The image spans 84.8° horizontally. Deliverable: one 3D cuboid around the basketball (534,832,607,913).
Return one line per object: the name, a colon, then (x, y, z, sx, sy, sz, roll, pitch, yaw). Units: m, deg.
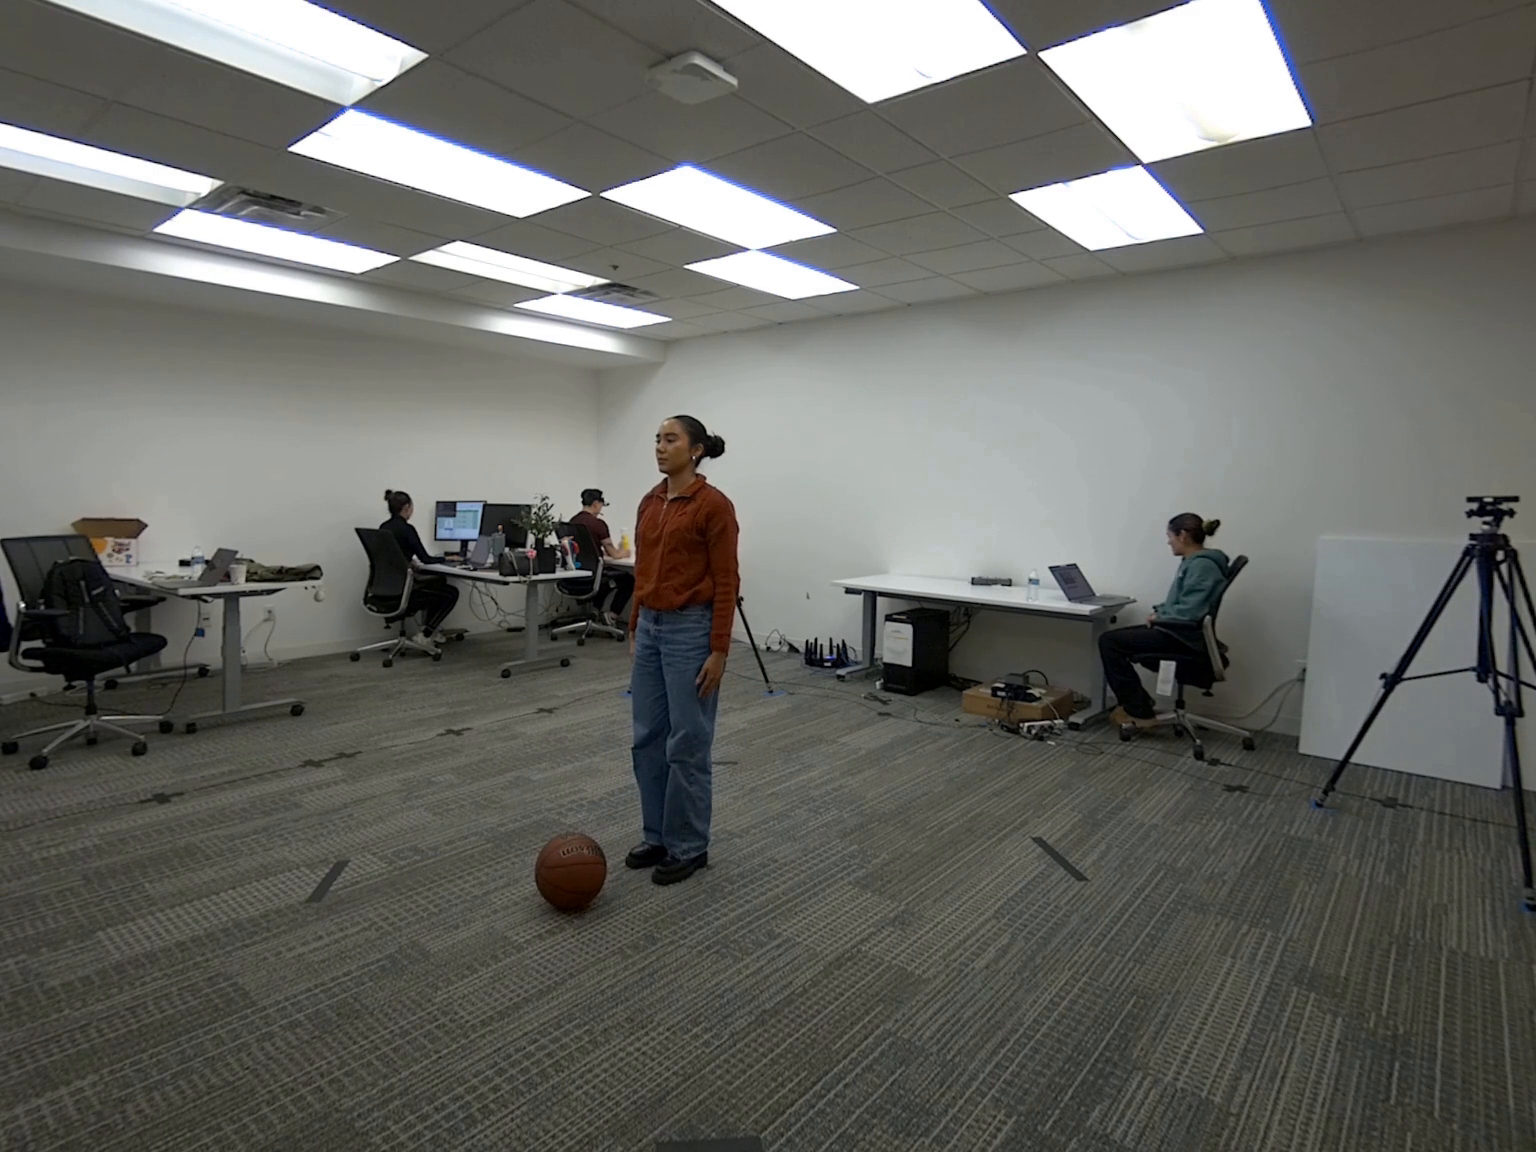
basketball: (-0.659, 0.971, 2.809, 0.235, 0.235, 0.237, 1, 4, -2)
